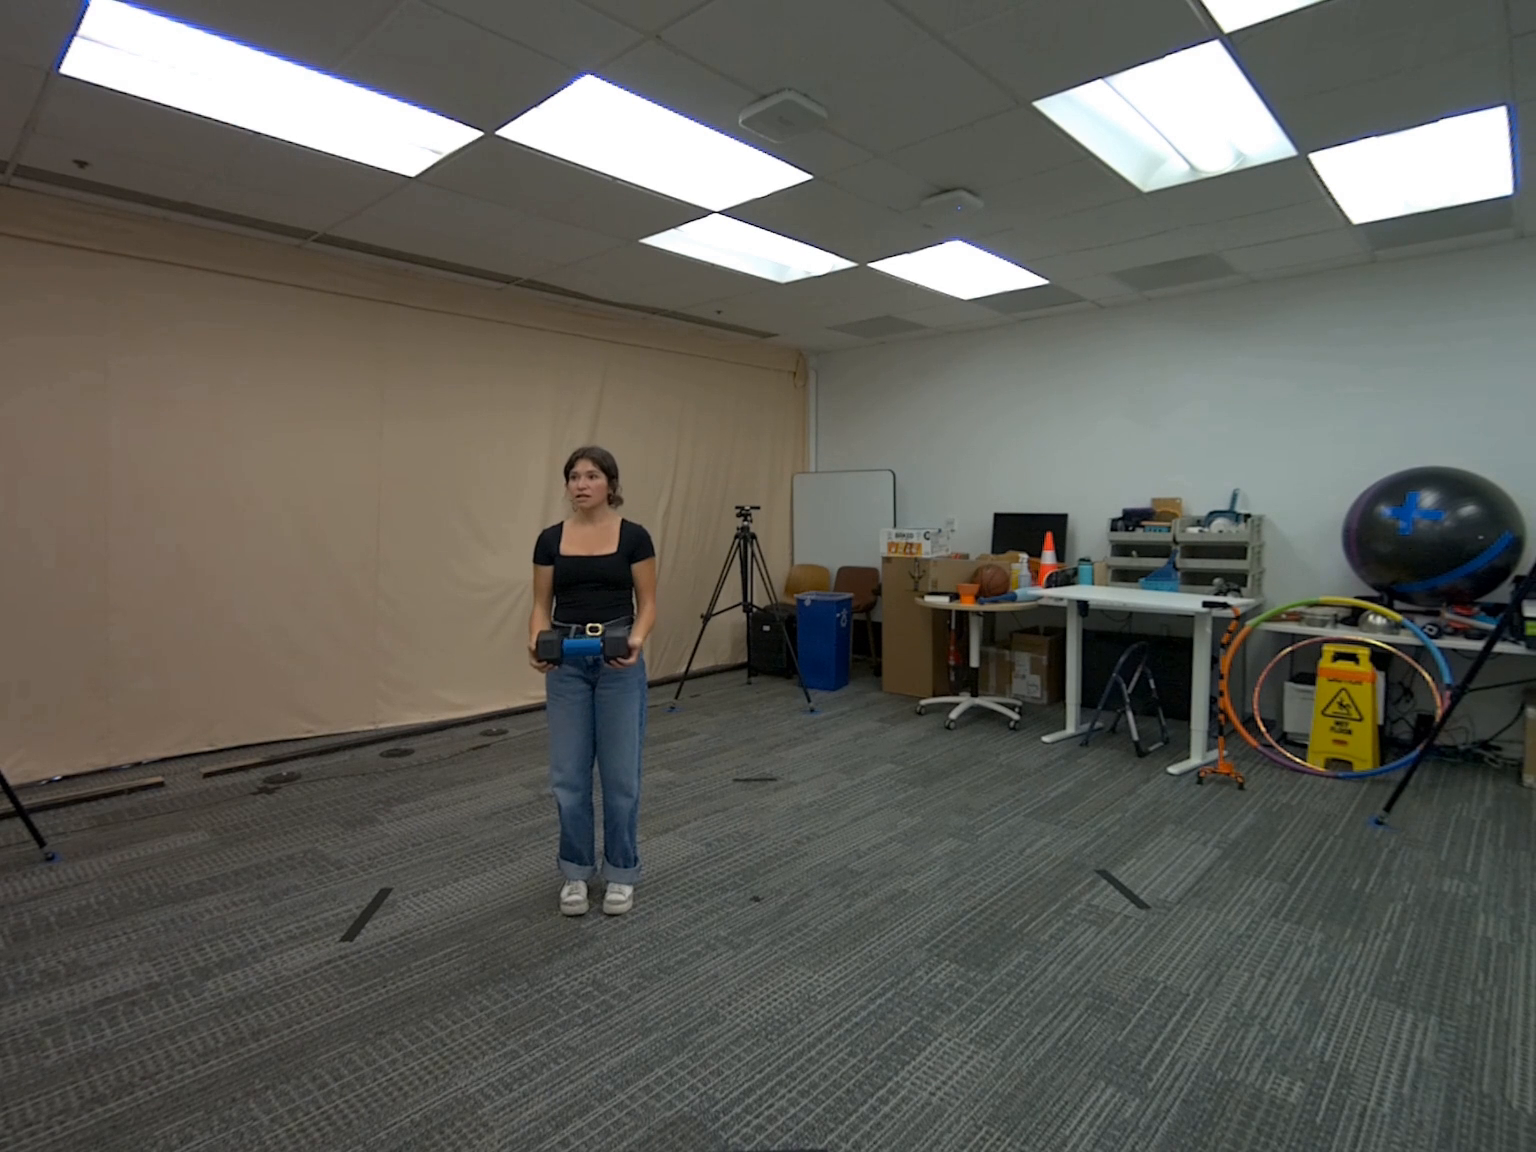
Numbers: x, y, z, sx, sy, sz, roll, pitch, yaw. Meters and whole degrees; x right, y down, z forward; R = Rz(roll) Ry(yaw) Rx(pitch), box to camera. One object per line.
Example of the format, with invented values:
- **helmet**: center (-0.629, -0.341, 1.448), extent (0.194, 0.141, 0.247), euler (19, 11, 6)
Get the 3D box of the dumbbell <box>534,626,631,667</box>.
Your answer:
- **dumbbell**: center (-0.615, 0.223, 2.731), extent (0.293, 0.111, 0.121), euler (0, -36, -3)
